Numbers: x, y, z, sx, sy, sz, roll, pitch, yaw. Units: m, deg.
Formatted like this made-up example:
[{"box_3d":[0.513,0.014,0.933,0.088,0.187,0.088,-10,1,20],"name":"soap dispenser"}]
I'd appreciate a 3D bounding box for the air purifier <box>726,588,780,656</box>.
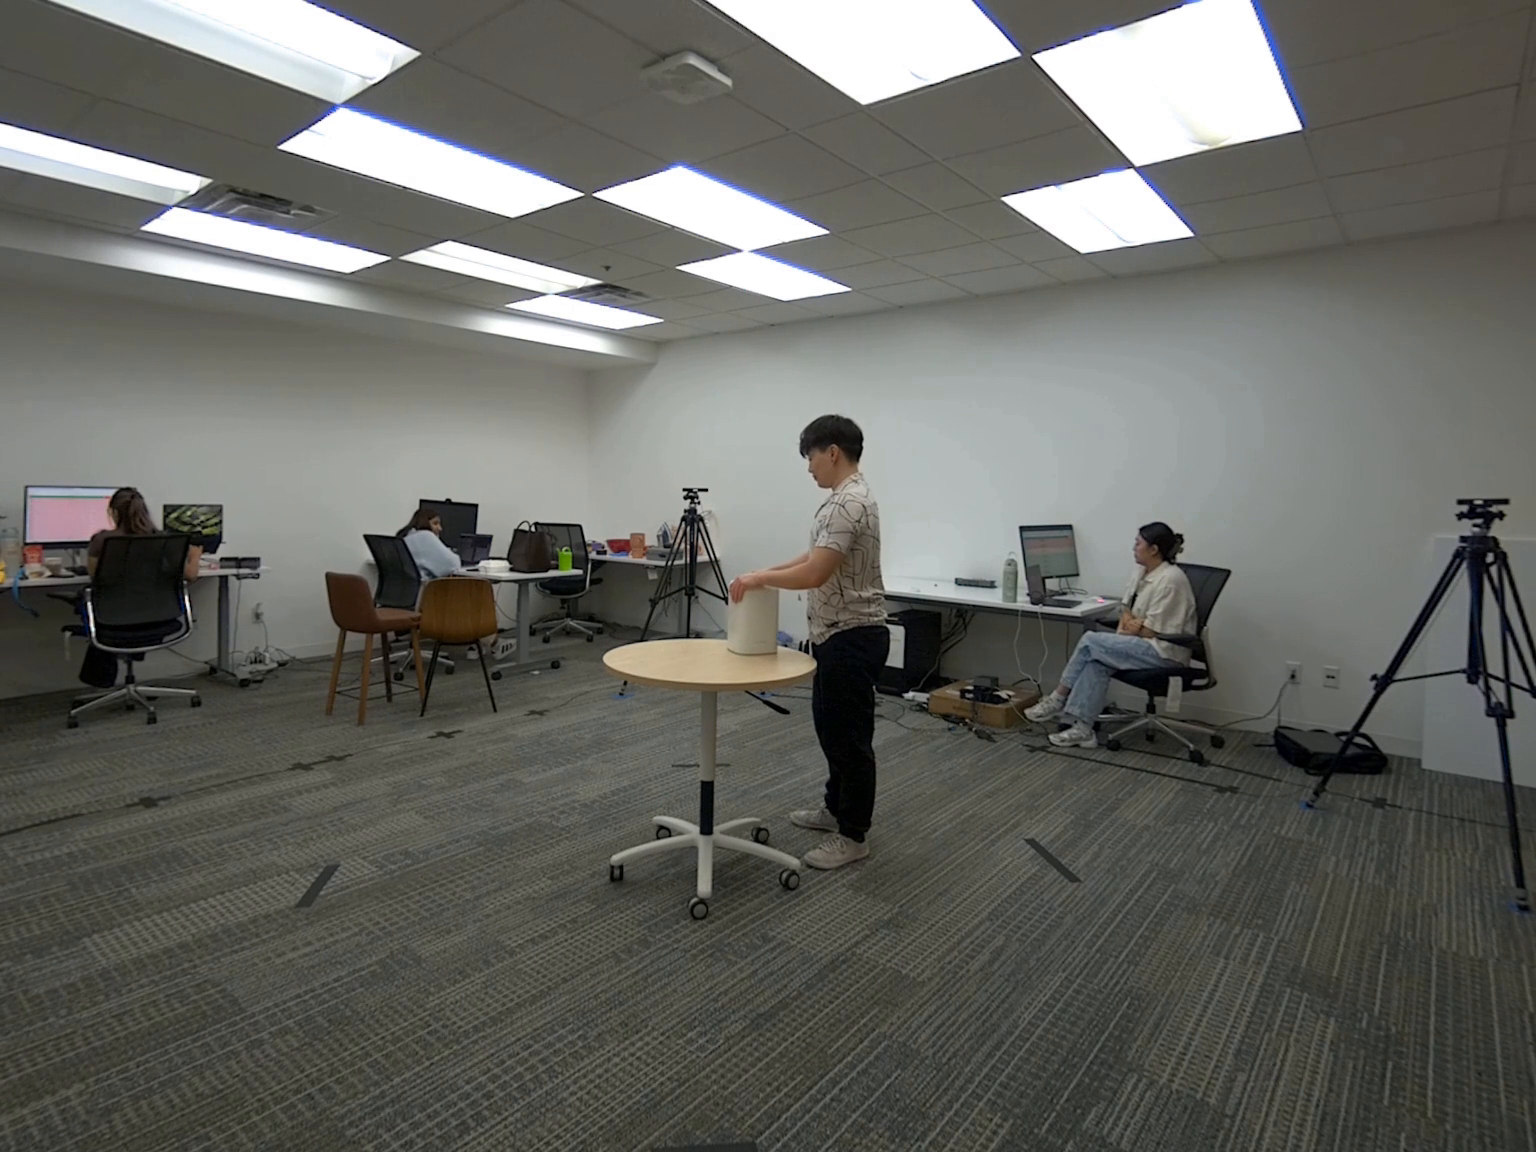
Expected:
[{"box_3d":[-0.066,0.149,3.219,0.168,0.264,0.175,0,5,-19],"name":"air purifier"}]
